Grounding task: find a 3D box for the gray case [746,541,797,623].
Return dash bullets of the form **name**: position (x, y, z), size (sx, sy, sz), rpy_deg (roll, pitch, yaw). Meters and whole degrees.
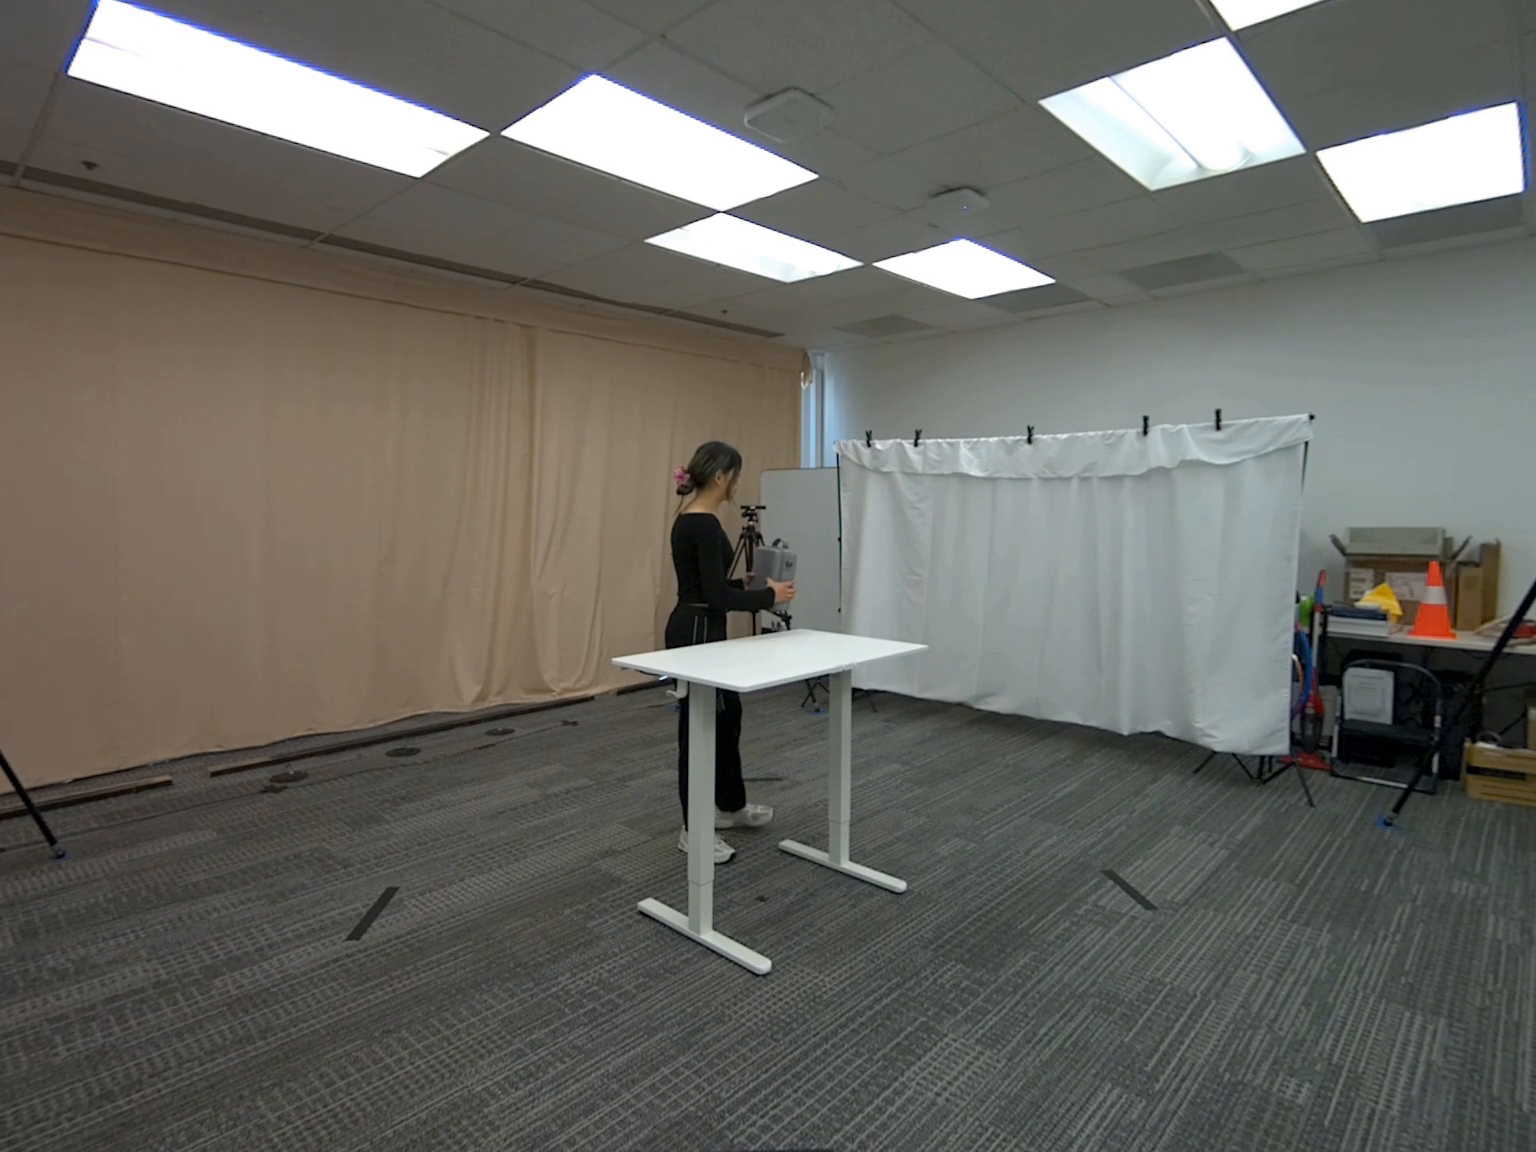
- **gray case**: position (0.021, 0.005, 3.483), size (0.102, 0.260, 0.262), rpy_deg (9, 2, -20)
